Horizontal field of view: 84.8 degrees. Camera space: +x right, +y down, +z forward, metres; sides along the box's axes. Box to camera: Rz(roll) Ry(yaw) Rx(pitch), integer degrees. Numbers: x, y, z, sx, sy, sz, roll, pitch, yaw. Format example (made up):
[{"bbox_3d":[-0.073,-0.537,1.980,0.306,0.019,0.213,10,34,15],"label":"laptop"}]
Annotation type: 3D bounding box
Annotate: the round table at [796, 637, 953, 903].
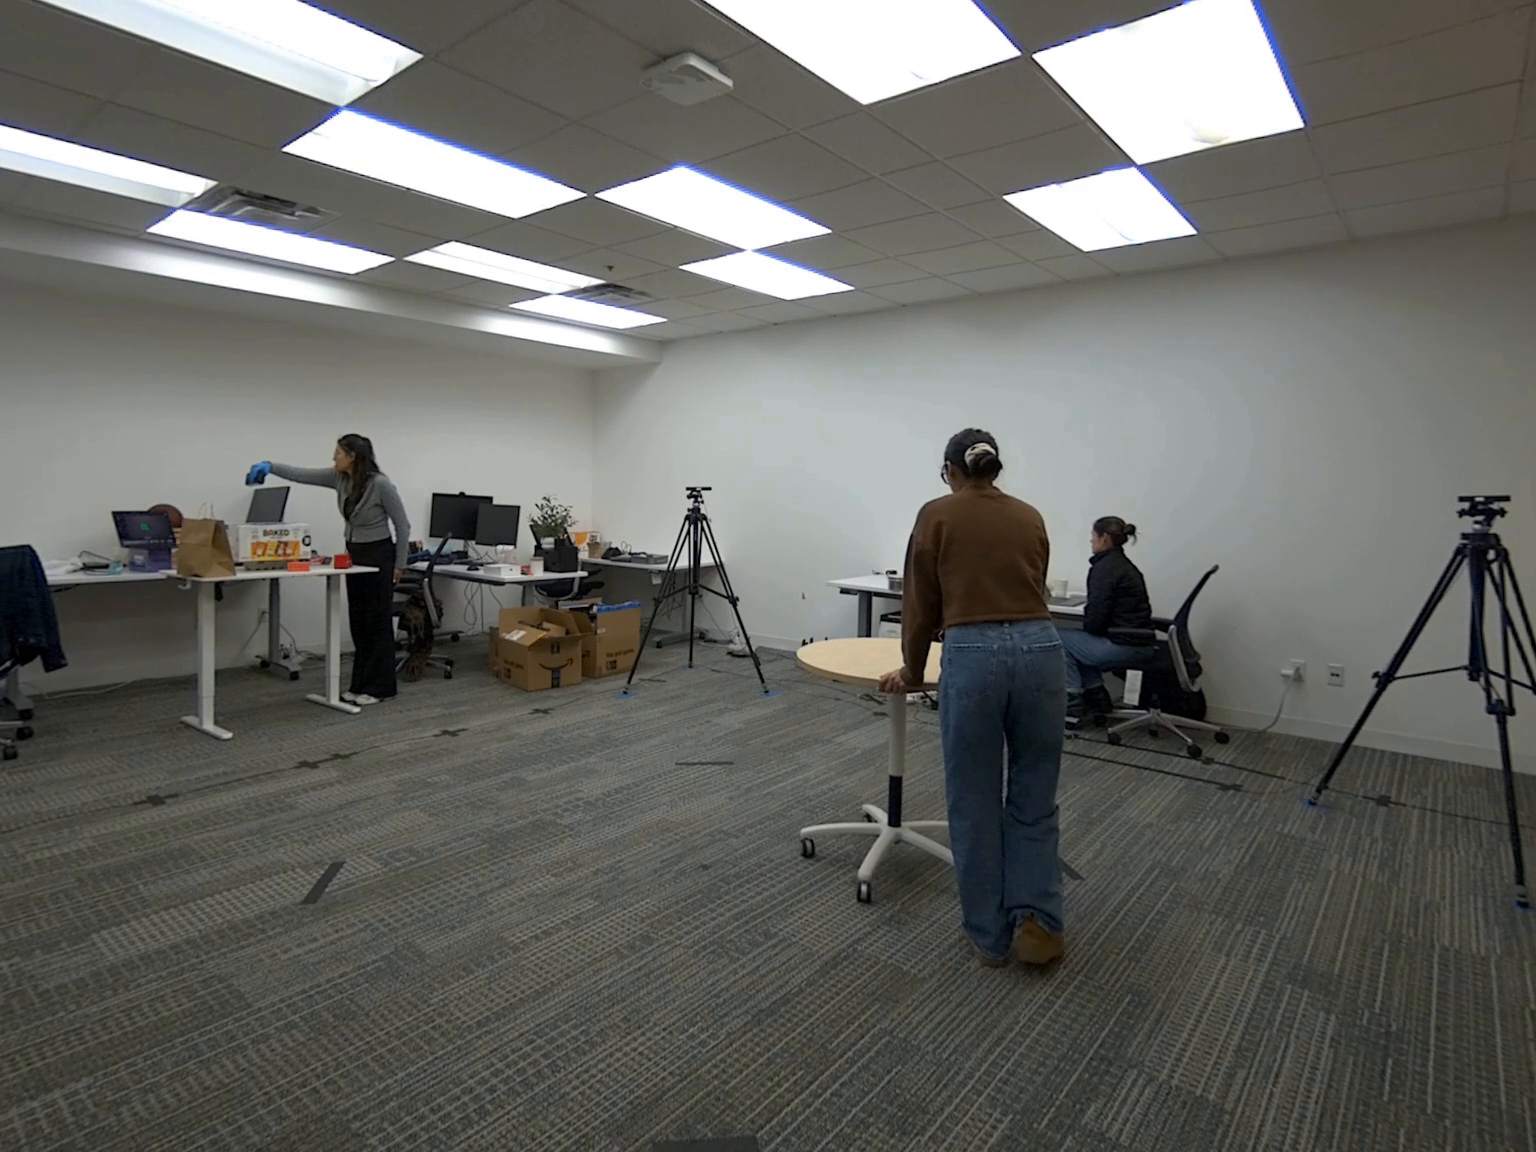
[{"bbox_3d":[0.473,0.688,3.171,0.763,0.791,0.768,1,5,-2],"label":"round table"}]
